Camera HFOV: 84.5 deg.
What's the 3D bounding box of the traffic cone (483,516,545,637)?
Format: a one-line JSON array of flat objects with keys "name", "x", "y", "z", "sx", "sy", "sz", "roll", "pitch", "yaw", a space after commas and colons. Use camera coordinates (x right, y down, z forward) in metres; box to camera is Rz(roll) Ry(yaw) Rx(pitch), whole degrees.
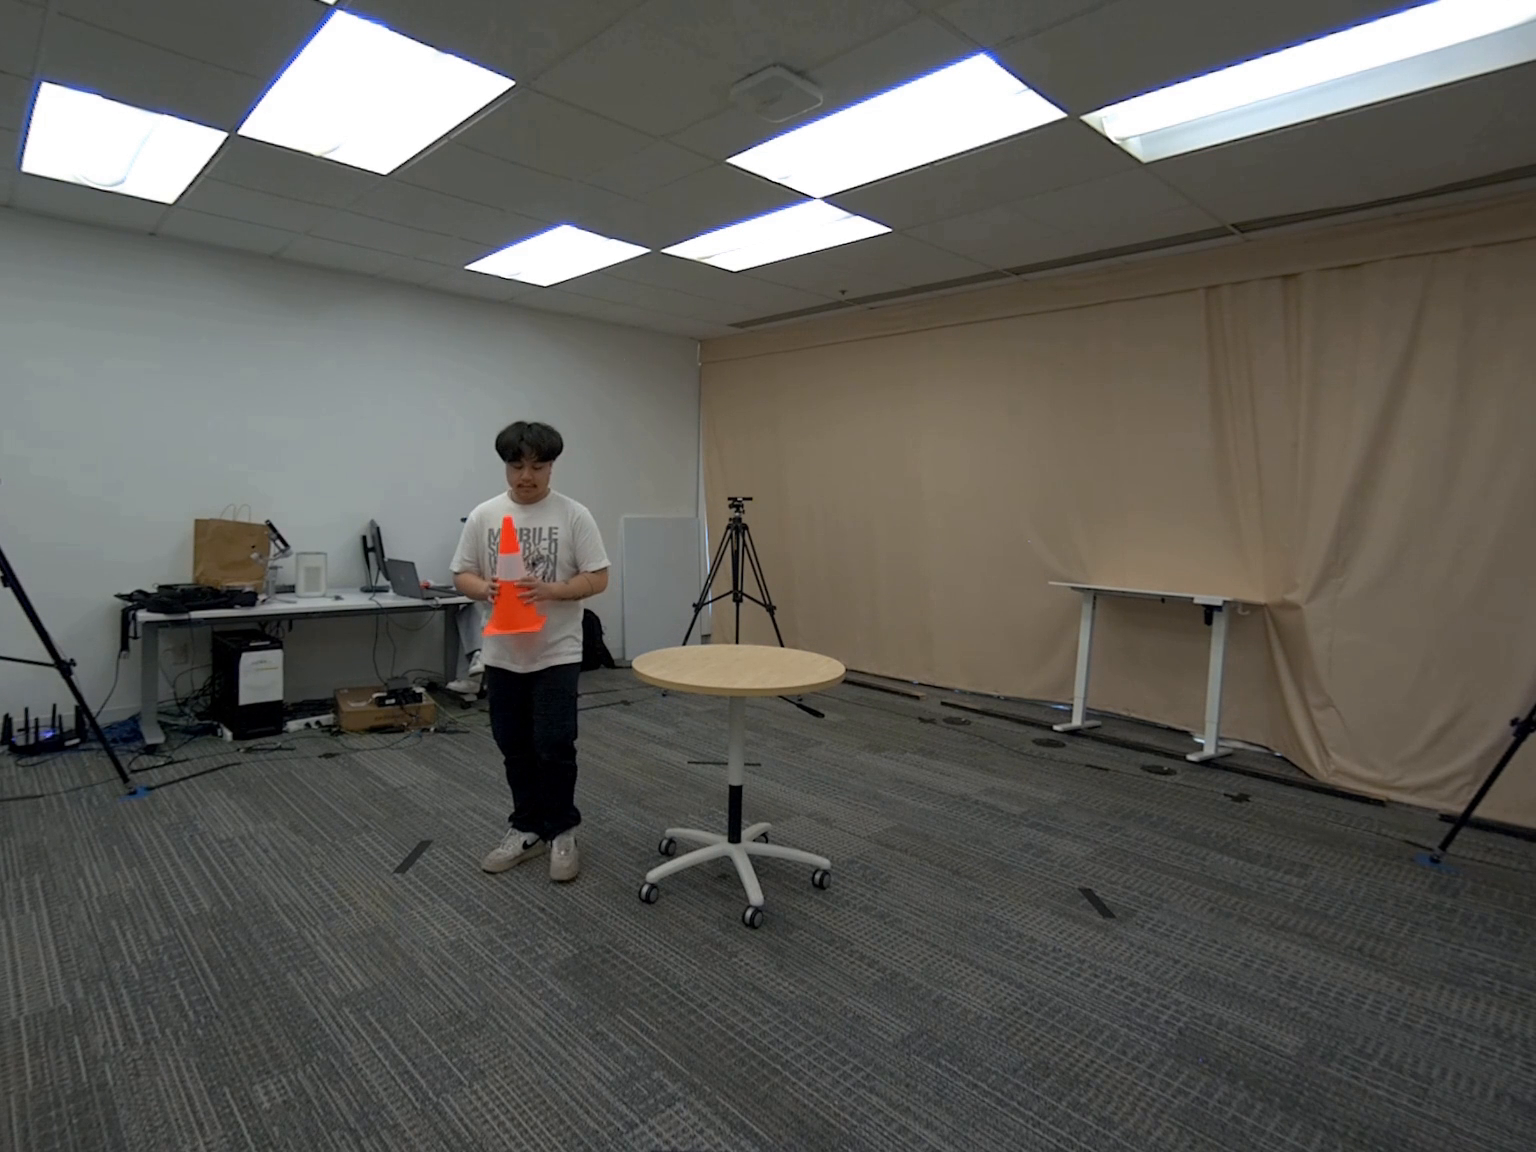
[{"name": "traffic cone", "x": -0.895, "y": -0.014, "z": 2.875, "sx": 0.206, "sy": 0.379, "sz": 0.204, "roll": 2, "pitch": 15, "yaw": 5}]
